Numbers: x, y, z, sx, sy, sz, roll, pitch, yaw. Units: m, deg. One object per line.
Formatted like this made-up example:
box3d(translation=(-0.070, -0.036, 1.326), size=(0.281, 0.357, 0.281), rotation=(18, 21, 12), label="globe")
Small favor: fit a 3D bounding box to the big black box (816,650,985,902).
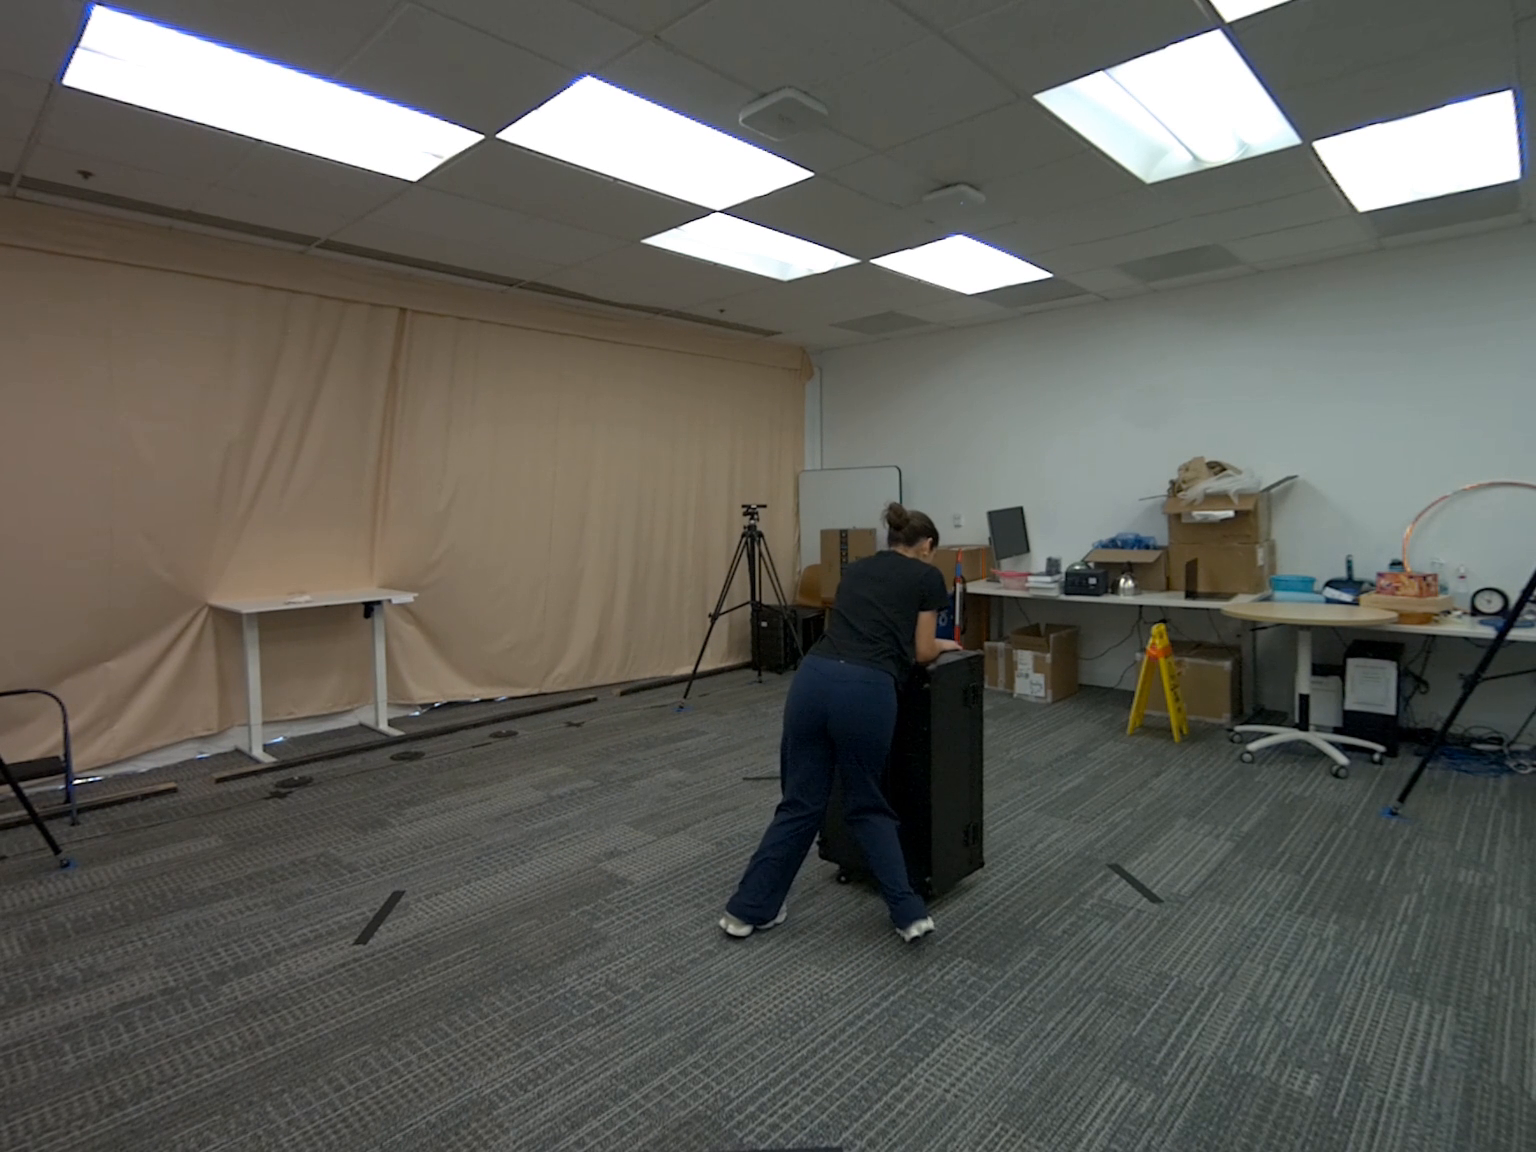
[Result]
box3d(translation=(0.486, 0.643, 3.071), size=(0.538, 0.860, 0.384), rotation=(3, 5, 43), label="big black box")
